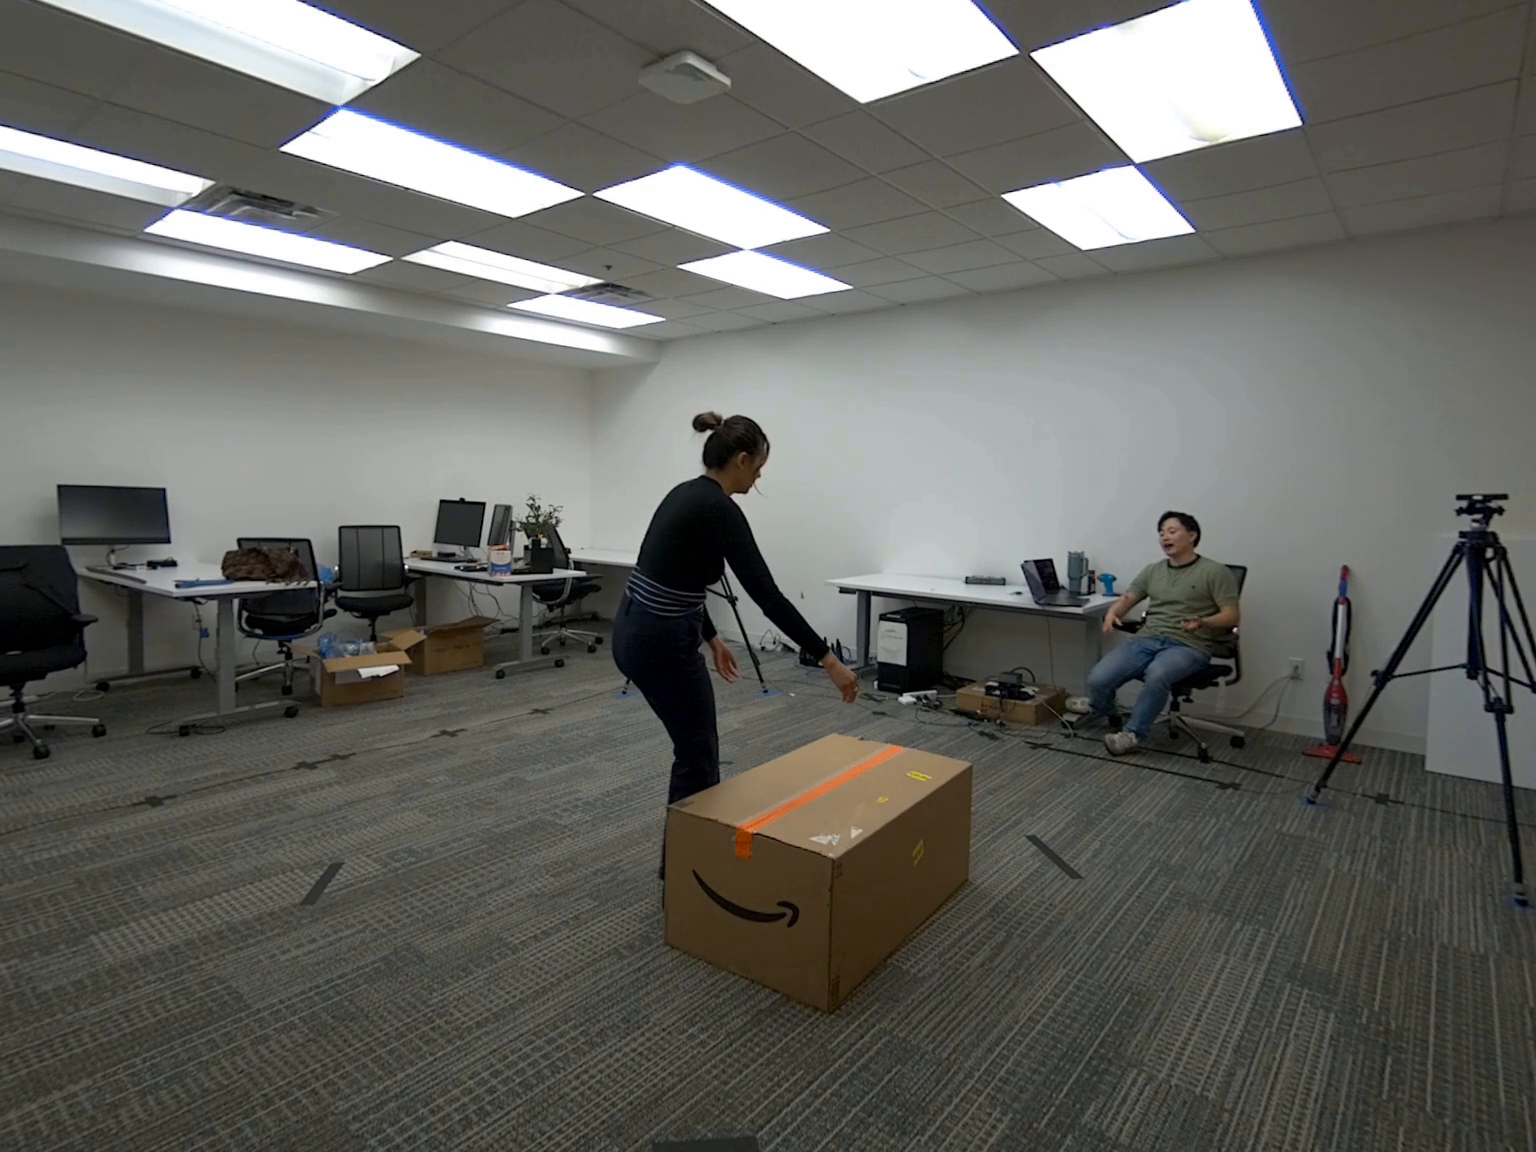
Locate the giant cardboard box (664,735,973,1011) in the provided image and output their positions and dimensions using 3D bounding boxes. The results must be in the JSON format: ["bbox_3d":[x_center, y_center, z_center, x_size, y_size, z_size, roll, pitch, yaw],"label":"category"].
[{"bbox_3d":[0.201,0.887,2.811,0.596,0.424,0.997,5,7,35],"label":"giant cardboard box"}]
